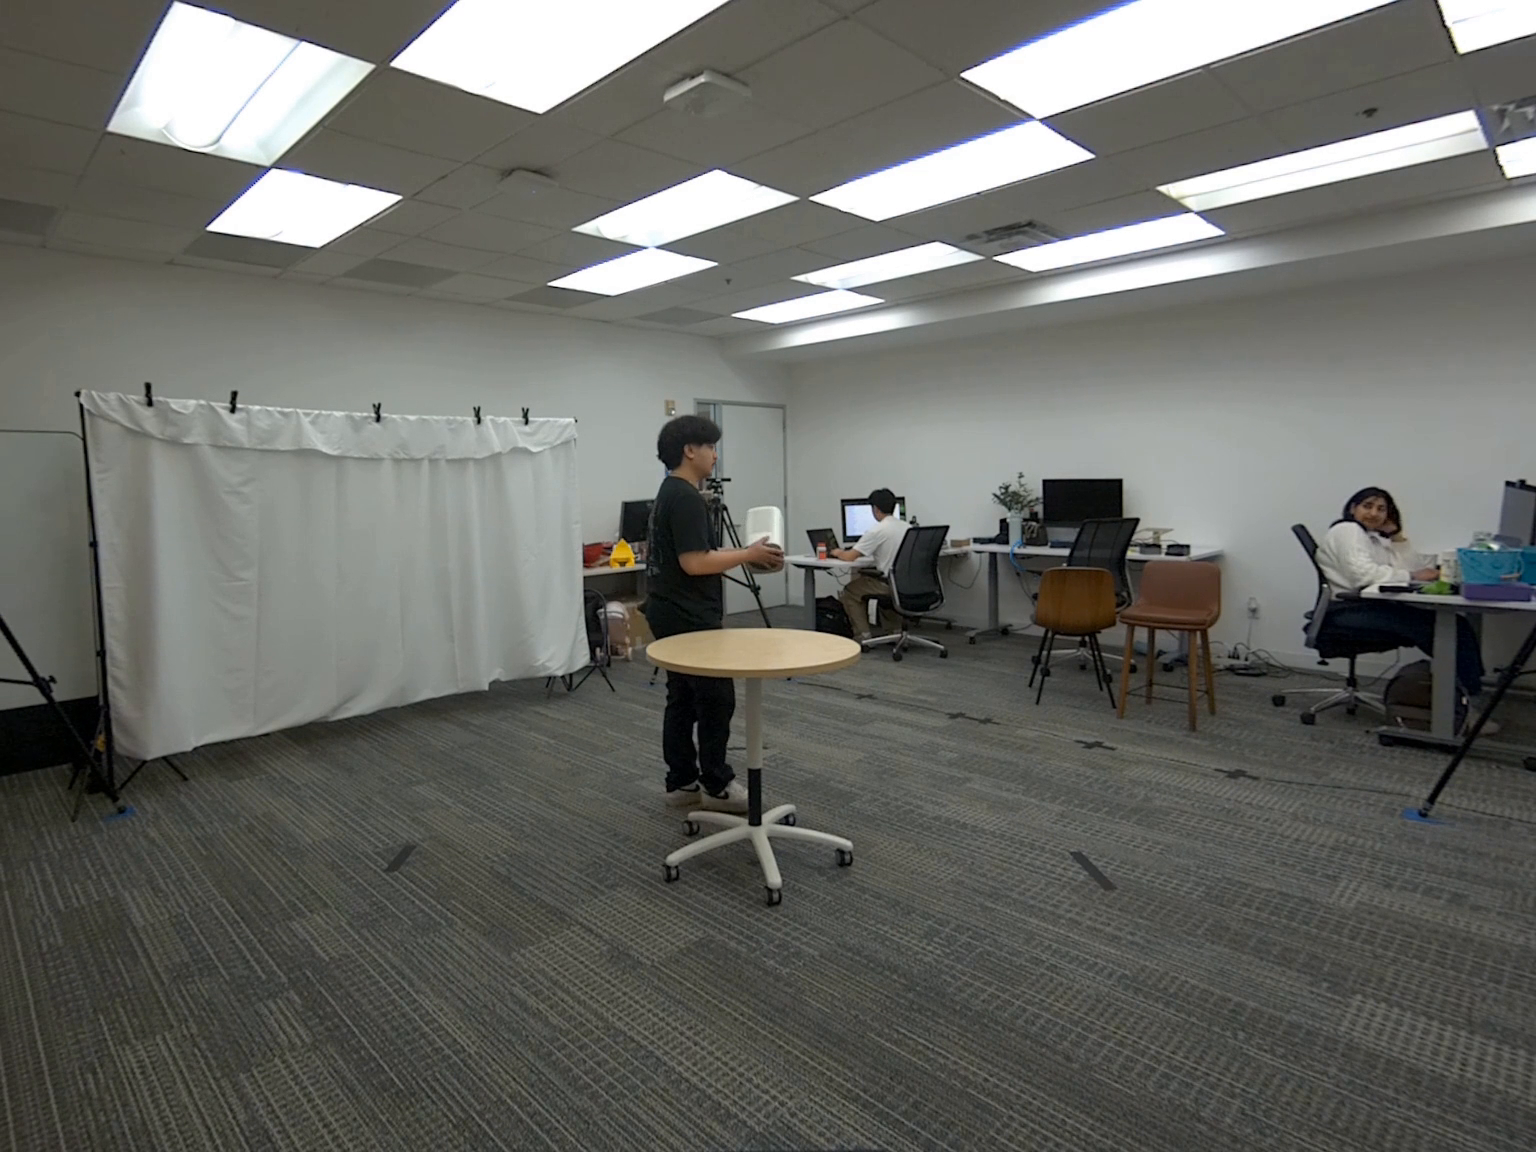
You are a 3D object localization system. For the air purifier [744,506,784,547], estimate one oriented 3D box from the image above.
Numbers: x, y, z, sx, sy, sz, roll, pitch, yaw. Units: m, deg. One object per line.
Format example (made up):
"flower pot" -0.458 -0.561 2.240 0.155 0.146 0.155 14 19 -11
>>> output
"air purifier" -0.017 -0.163 3.700 0.173 0.165 0.272 -6 42 7
